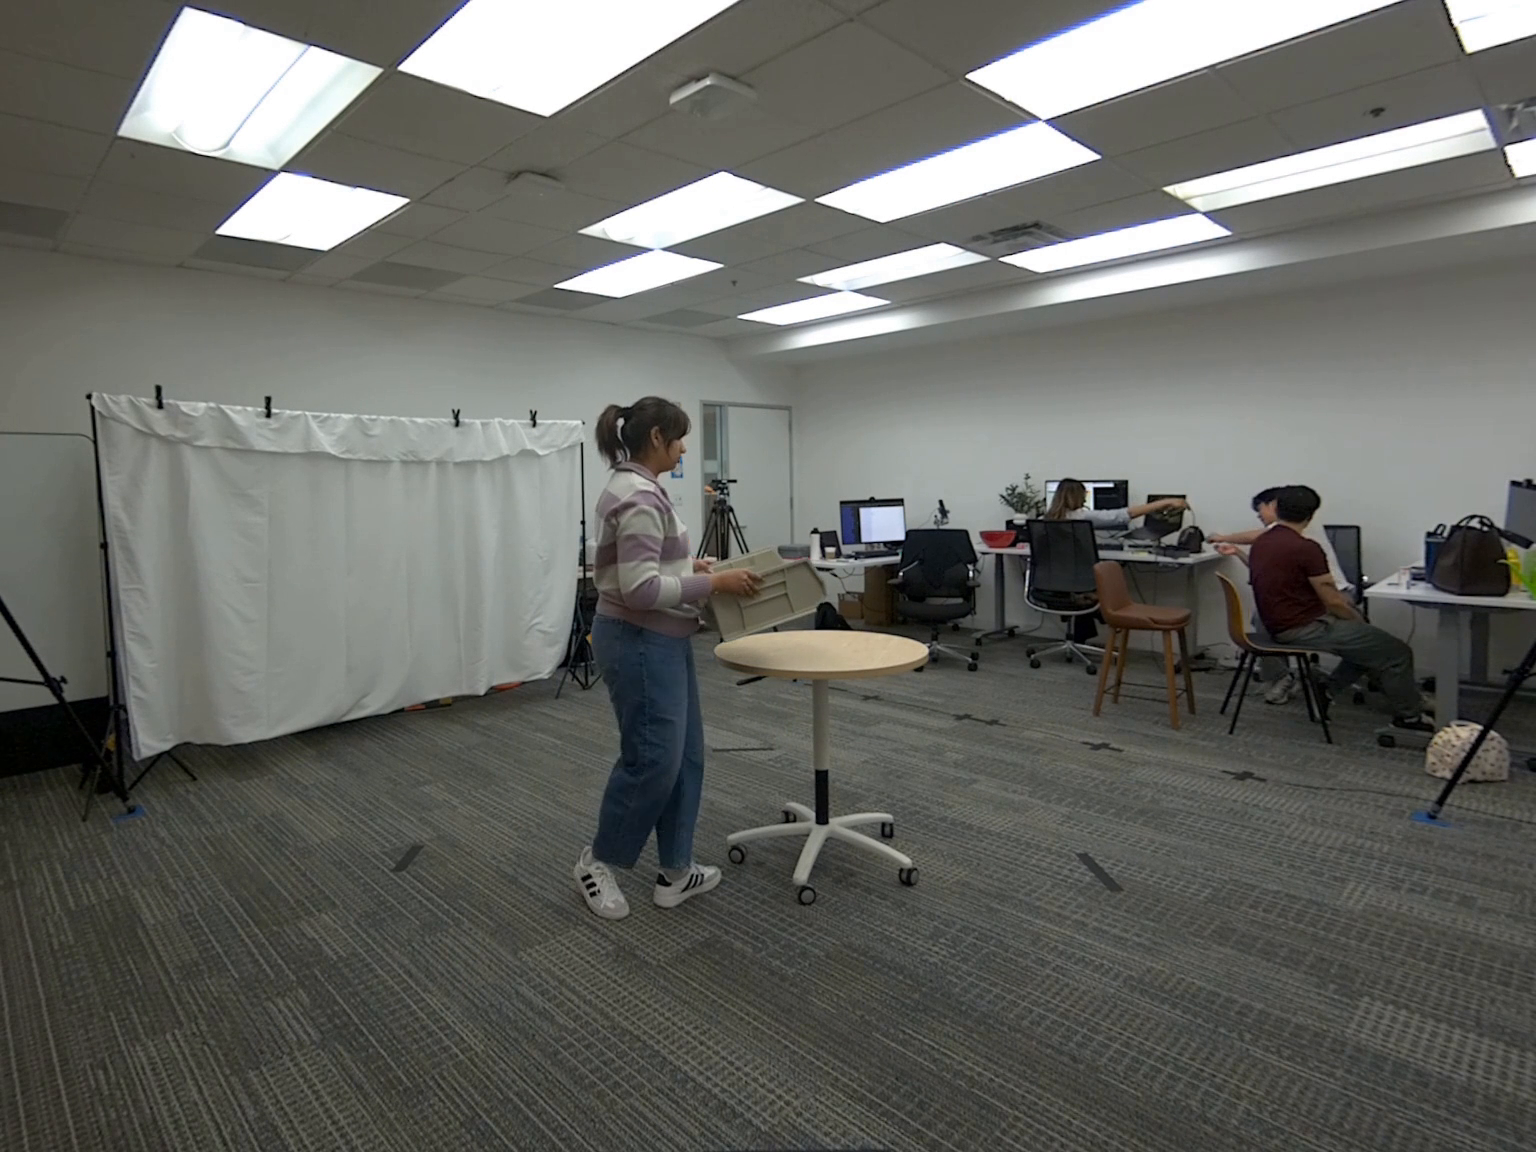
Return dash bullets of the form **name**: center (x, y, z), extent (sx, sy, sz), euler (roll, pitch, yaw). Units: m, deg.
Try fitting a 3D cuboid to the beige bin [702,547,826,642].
- **beige bin**: center (-0.048, 0.048, 2.878), extent (0.375, 0.187, 0.430), euler (-18, 11, -11)
